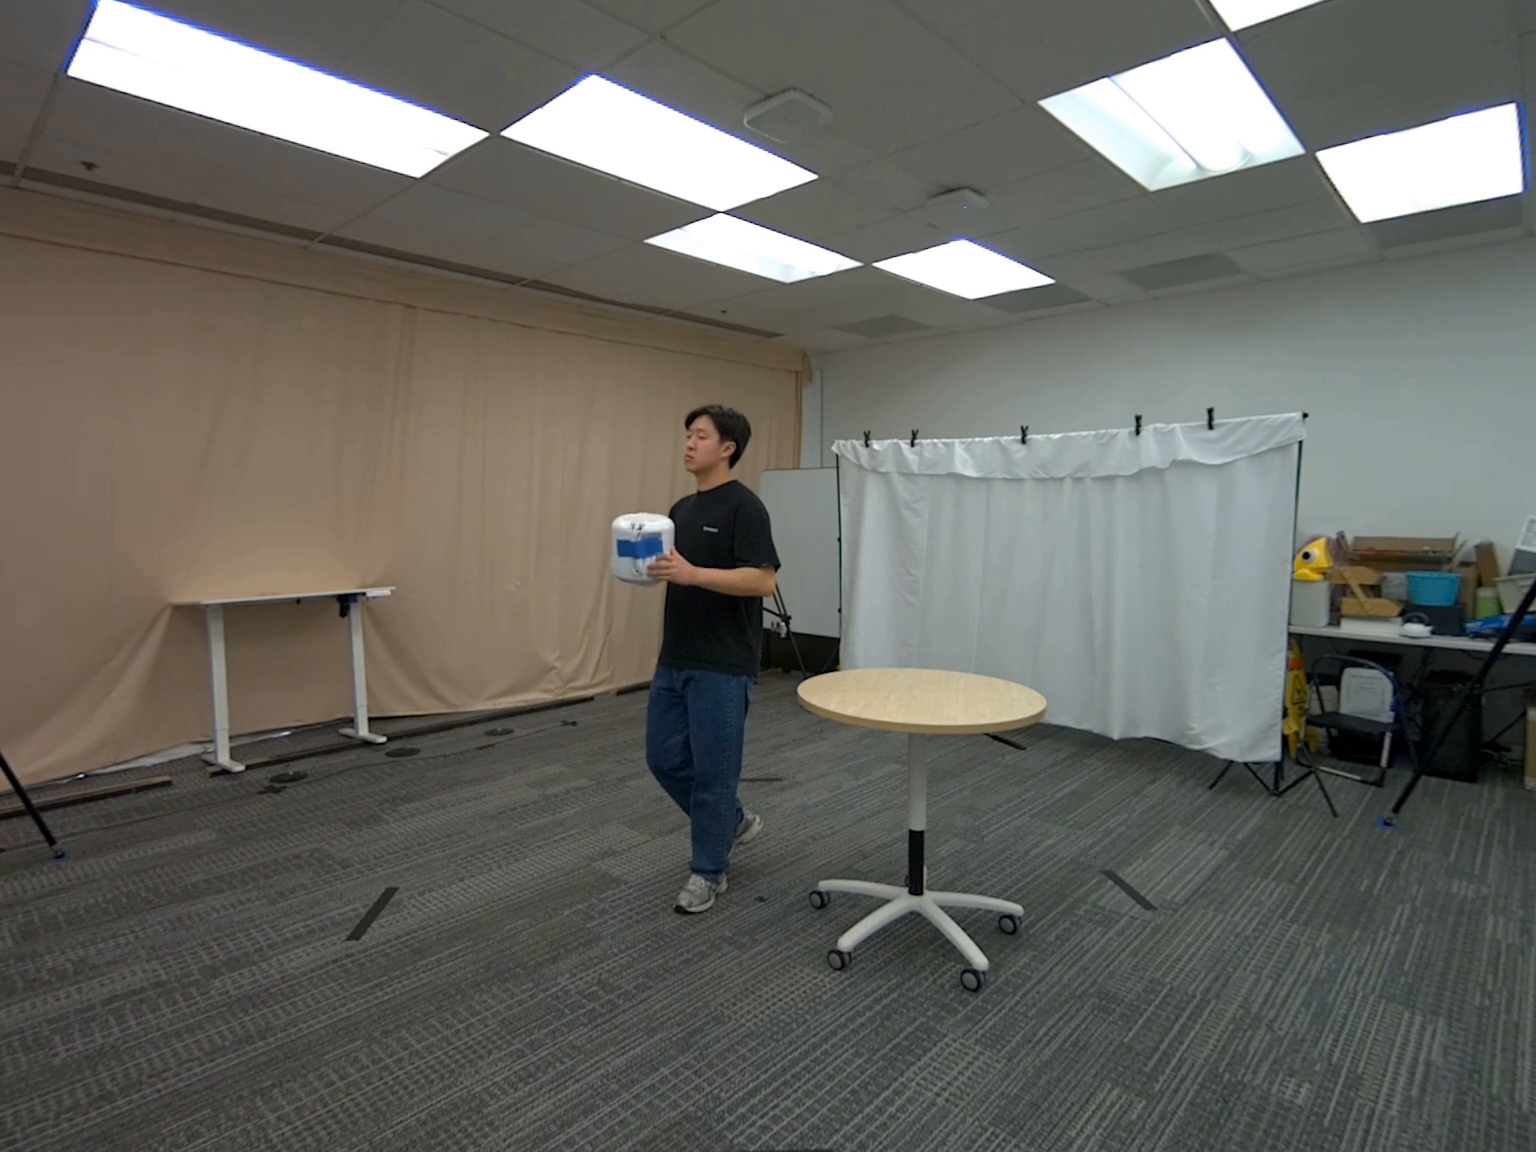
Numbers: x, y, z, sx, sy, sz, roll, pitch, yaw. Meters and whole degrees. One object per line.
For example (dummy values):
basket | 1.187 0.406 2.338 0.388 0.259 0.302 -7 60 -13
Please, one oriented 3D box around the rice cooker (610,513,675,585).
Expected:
rice cooker | -0.406 -0.079 2.805 0.211 0.231 0.228 -9 17 -43
